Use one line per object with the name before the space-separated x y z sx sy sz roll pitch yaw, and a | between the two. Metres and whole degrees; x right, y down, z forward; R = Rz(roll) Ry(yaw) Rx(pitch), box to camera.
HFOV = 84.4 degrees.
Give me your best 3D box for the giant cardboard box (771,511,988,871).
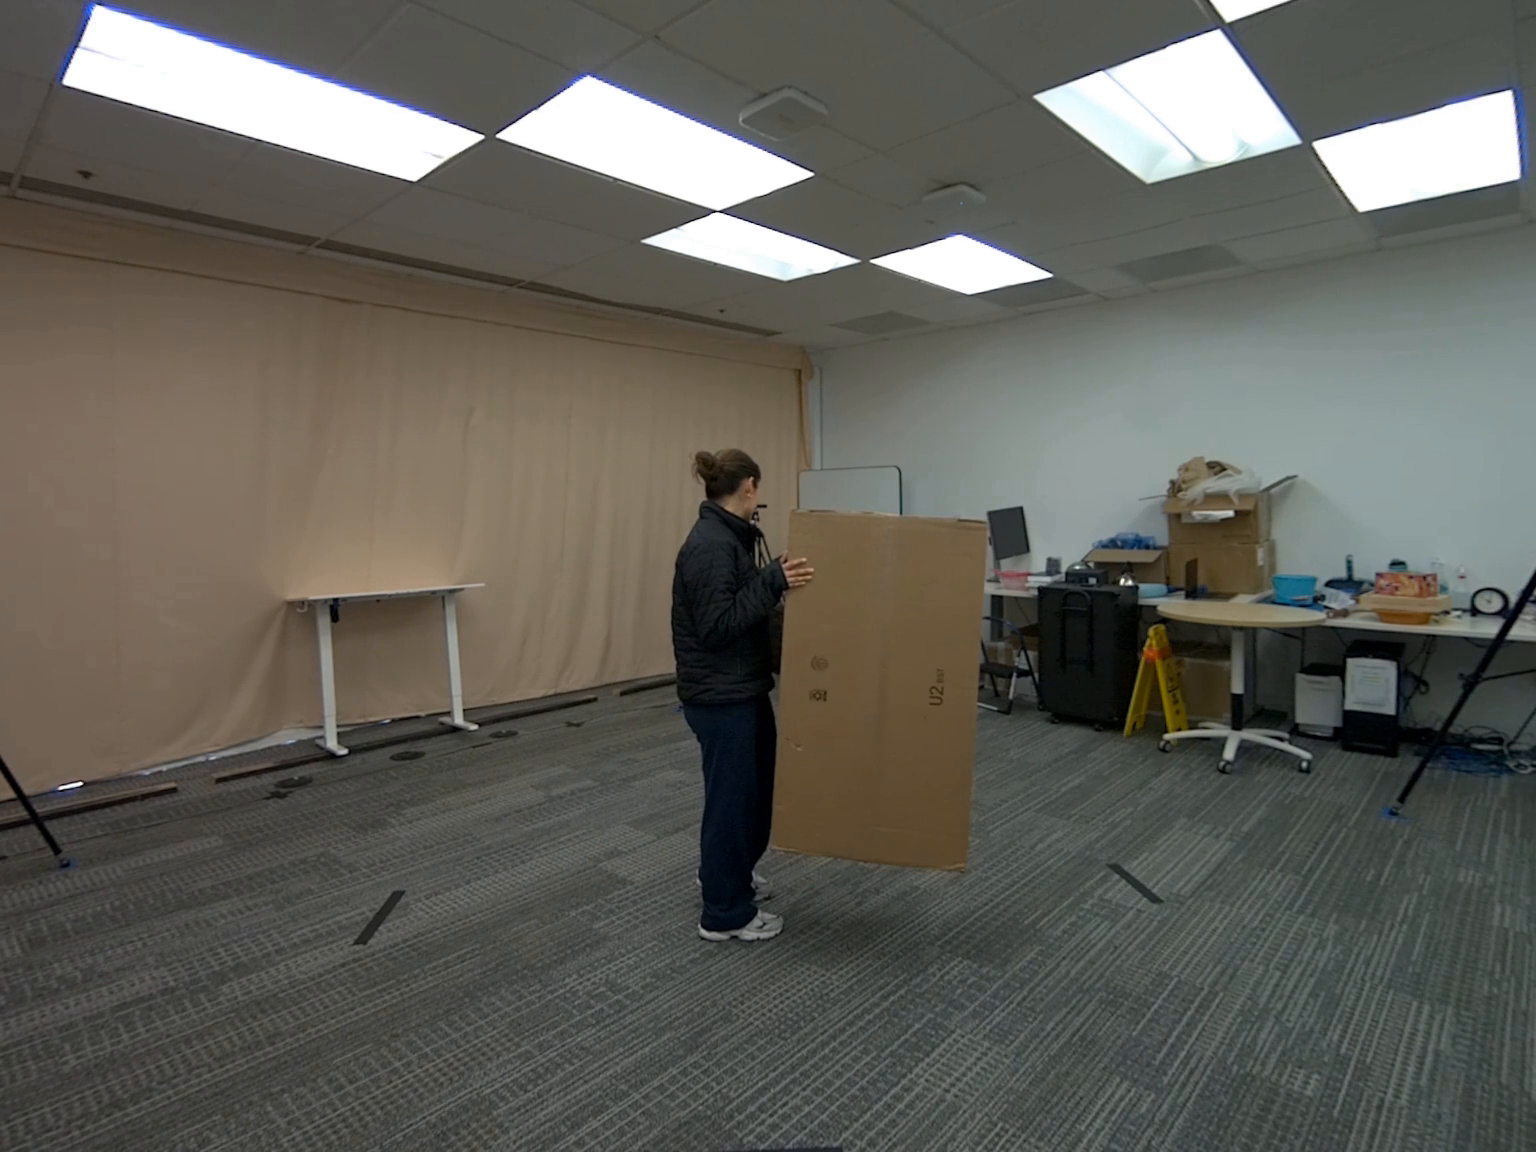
giant cardboard box | 0.358 0.323 2.676 0.583 1.025 0.423 3 1 7
